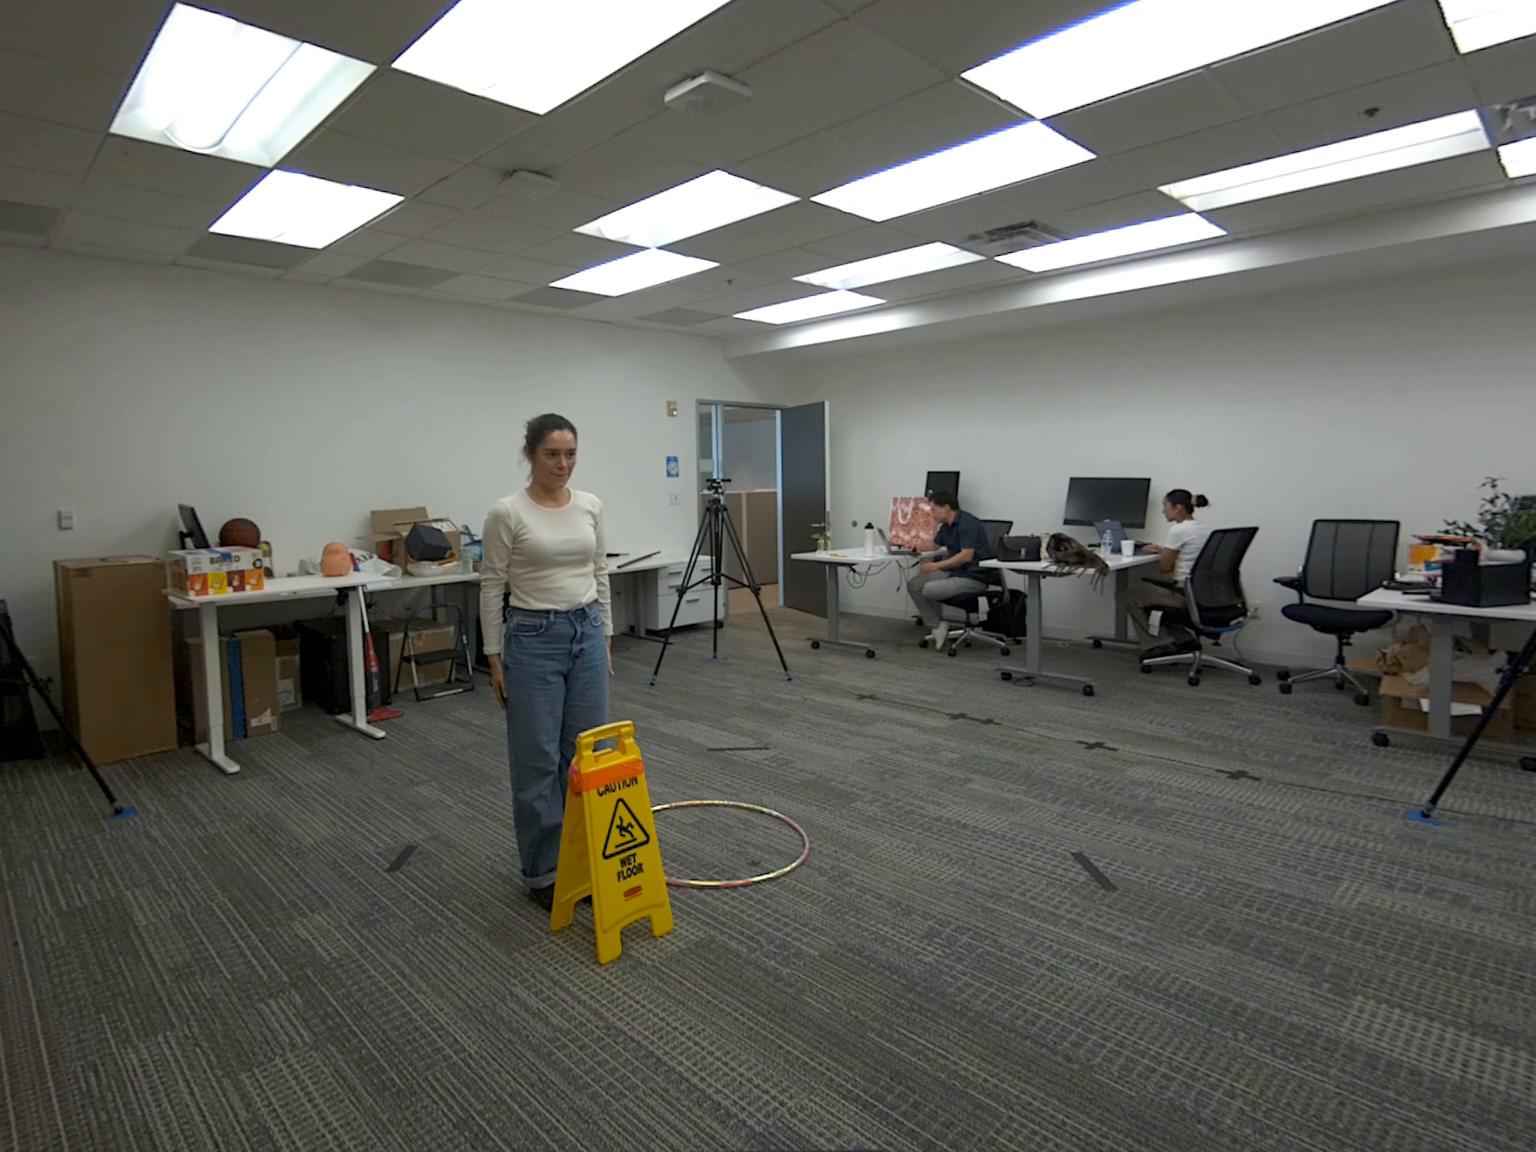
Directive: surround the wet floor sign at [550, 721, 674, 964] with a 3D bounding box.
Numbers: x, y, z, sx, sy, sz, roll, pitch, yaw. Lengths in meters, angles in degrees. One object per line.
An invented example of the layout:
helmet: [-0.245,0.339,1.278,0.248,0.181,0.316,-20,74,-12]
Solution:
wet floor sign: [-0.489,0.783,2.642,0.275,0.643,0.299,-6,7,-44]
